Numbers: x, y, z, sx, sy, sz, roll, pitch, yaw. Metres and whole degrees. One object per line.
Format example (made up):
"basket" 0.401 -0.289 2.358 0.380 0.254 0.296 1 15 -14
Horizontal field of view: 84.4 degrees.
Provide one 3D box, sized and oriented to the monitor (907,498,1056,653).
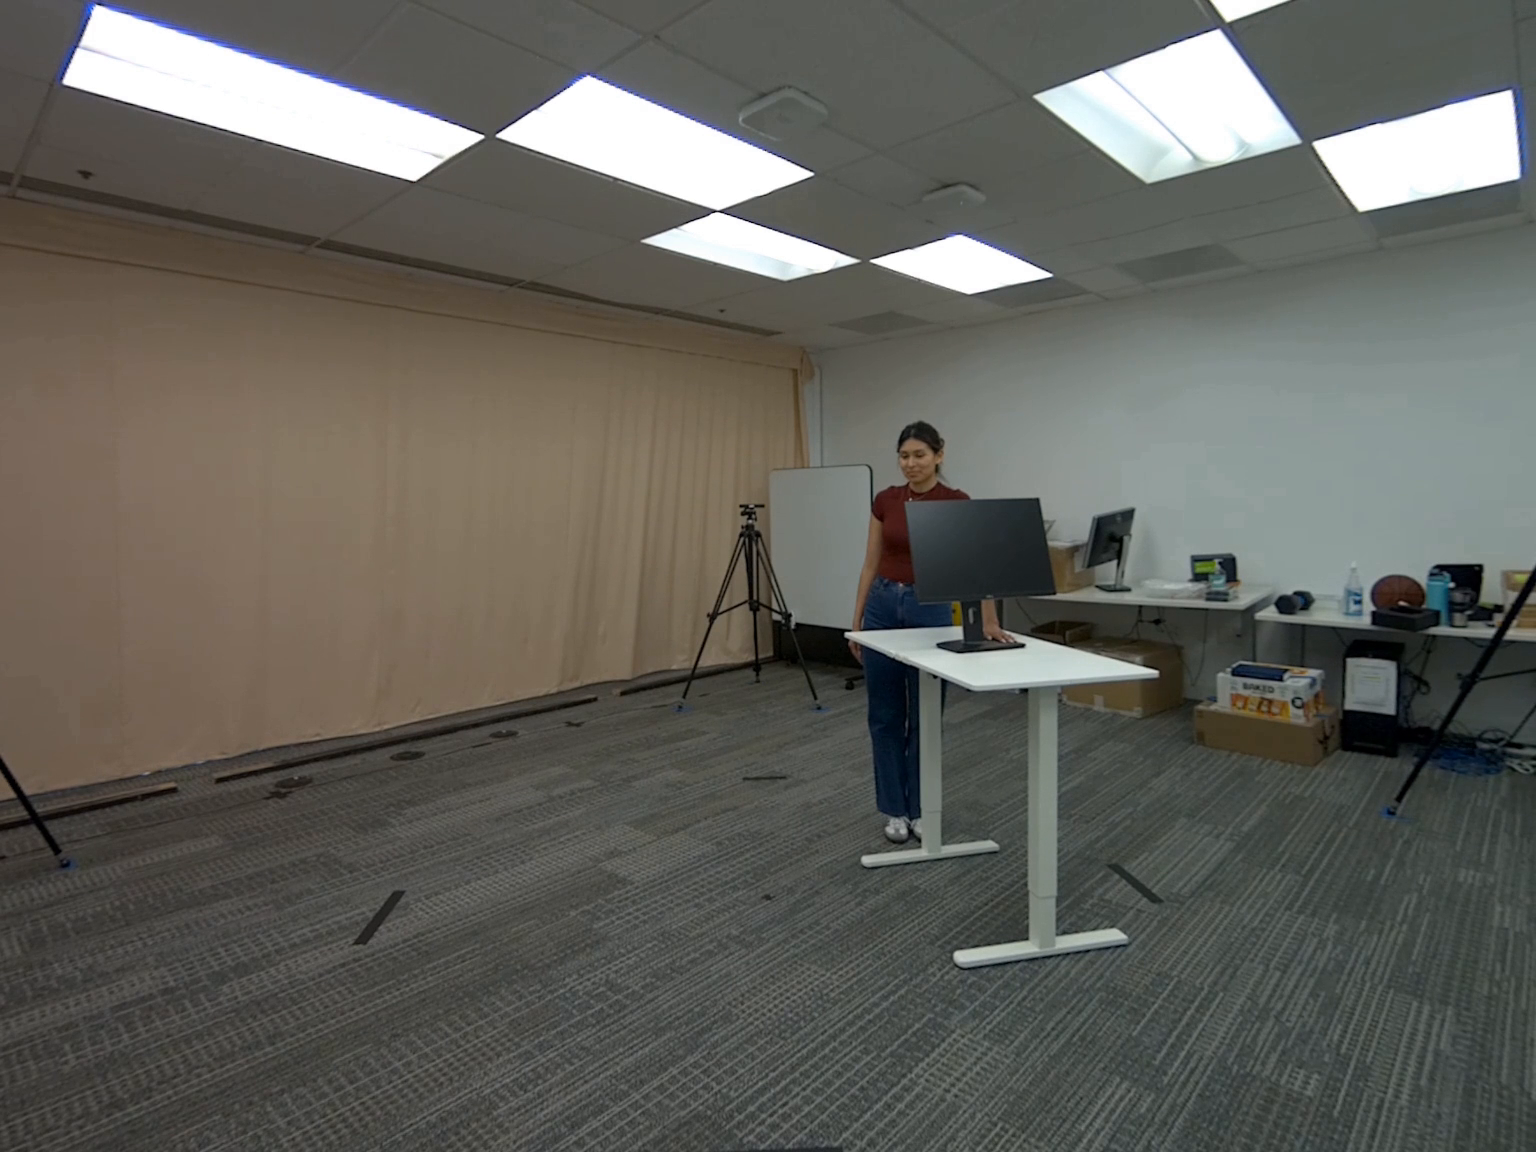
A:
"monitor" 0.733 -0.008 2.939 0.529 0.522 0.191 -3 1 -19
